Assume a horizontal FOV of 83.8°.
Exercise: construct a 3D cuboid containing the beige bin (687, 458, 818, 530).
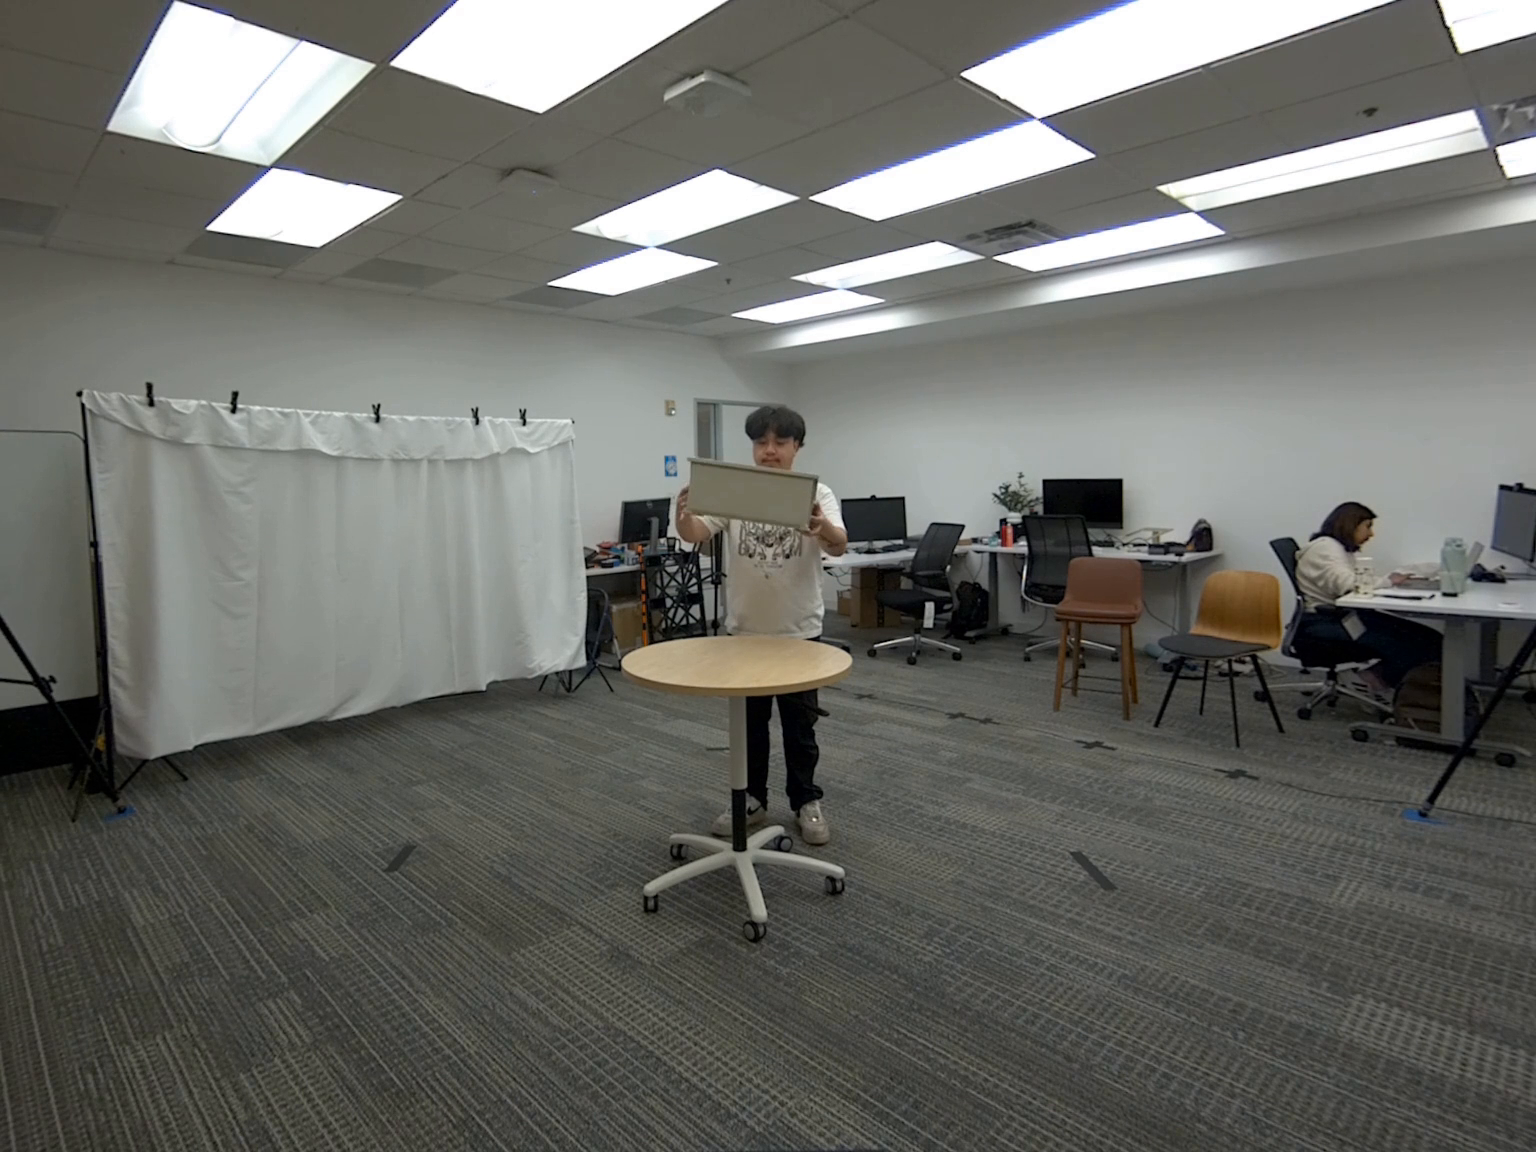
[{"bbox_3d":[-0.055,-0.266,2.878,0.424,0.188,0.377,8,3,3],"label":"beige bin"}]
